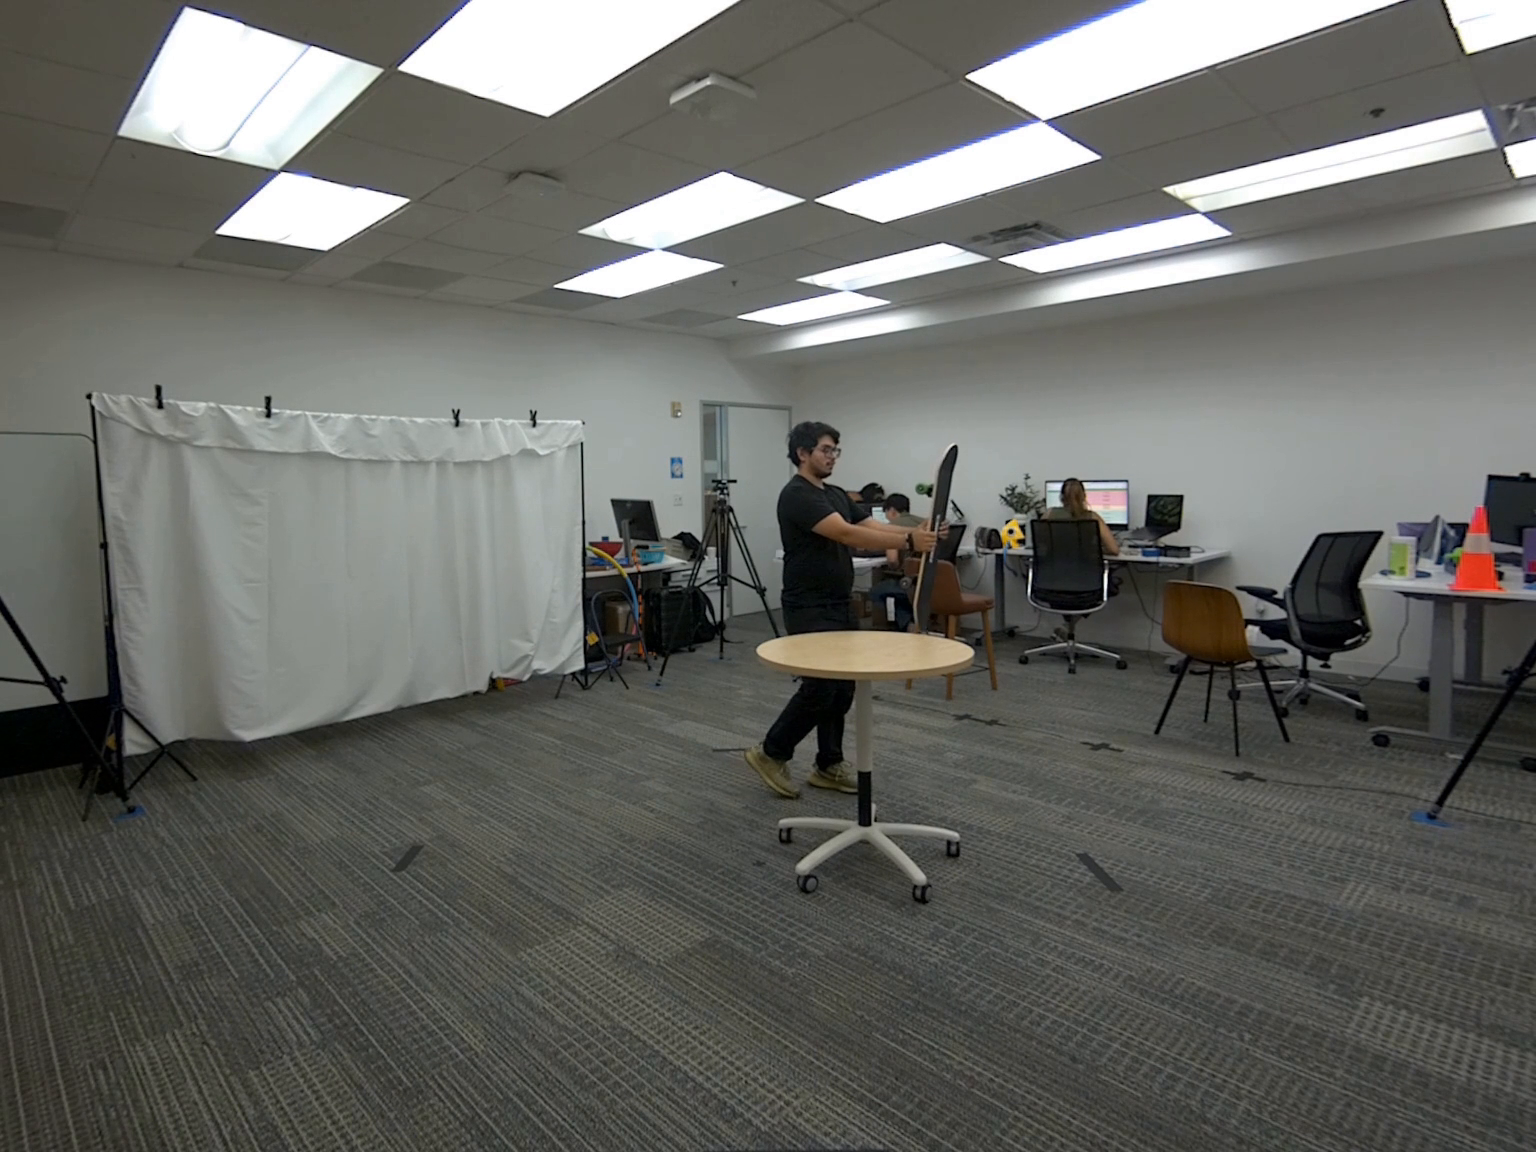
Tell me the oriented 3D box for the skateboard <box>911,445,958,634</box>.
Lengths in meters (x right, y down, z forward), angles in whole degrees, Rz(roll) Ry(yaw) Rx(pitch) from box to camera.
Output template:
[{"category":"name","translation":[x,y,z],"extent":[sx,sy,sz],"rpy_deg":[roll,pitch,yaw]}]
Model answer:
[{"category":"skateboard","translation":[0.664,-0.160,3.564],"extent":[0.113,0.781,0.189],"rpy_deg":[12,8,29]}]
